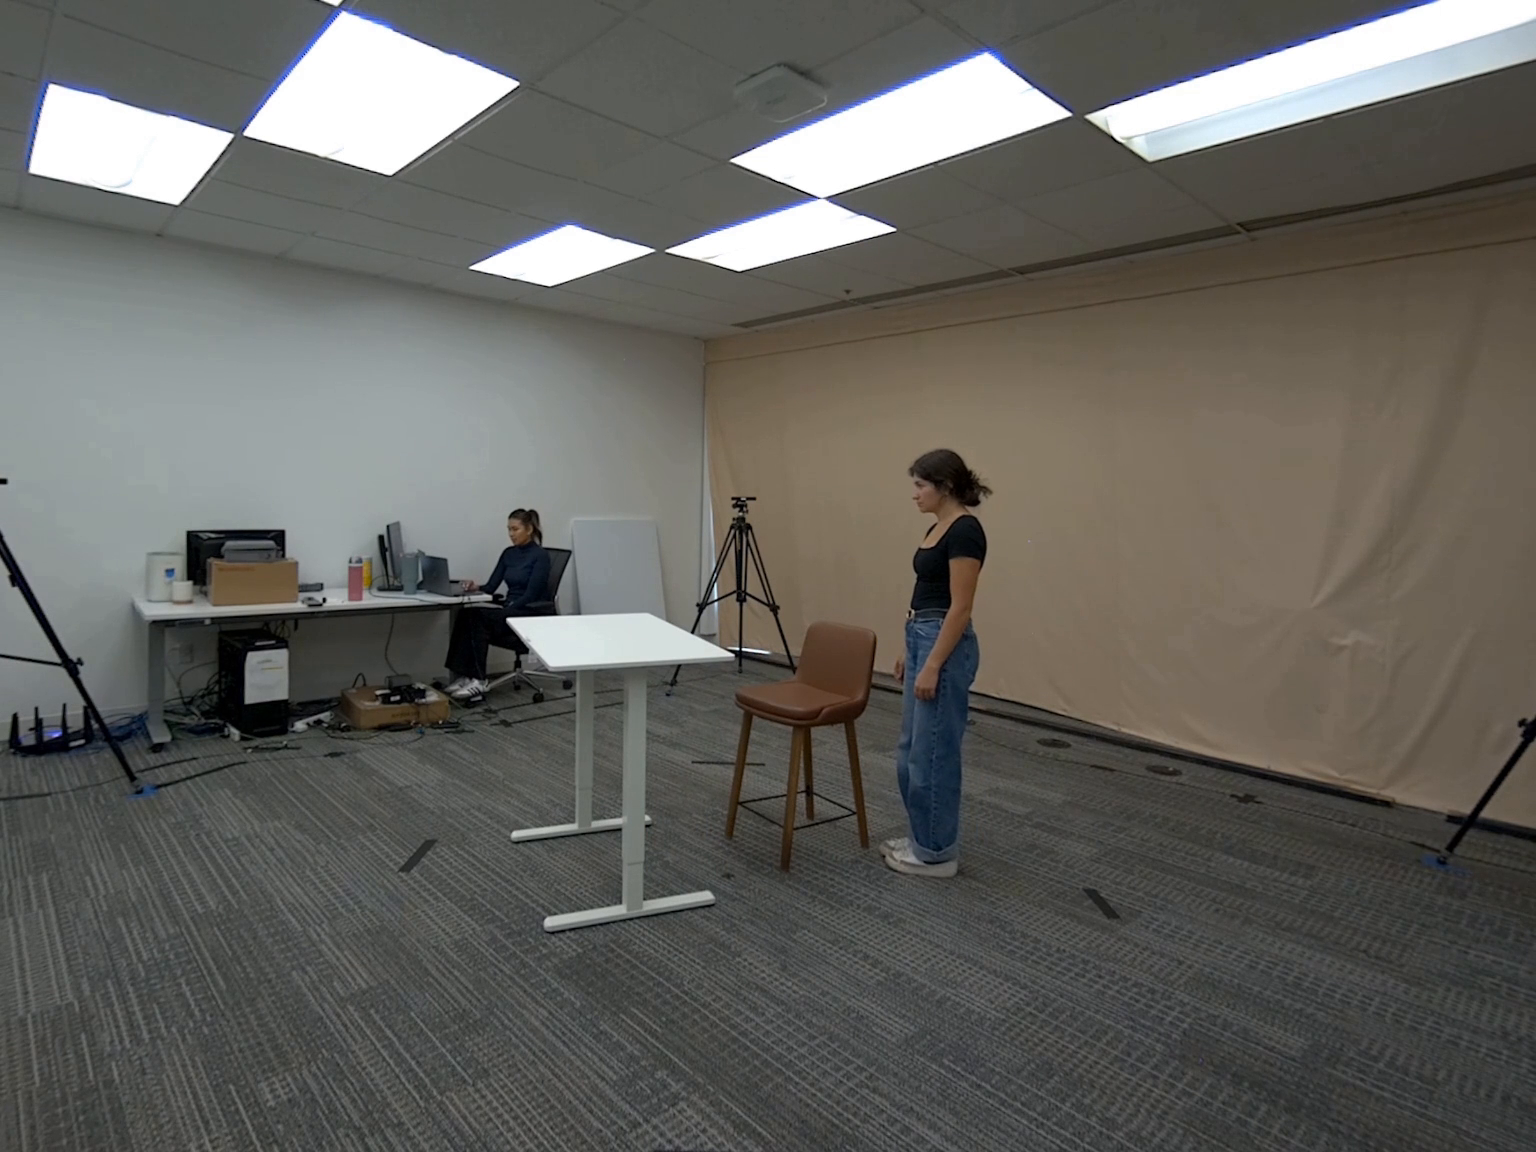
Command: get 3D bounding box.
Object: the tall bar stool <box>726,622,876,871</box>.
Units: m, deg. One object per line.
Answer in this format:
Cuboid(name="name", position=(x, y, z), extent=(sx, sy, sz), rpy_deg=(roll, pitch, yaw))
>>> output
Cuboid(name="tall bar stool", position=(0.131, 0.650, 3.416), extent=(0.457, 0.889, 0.467), rpy_deg=(2, 2, -35))
